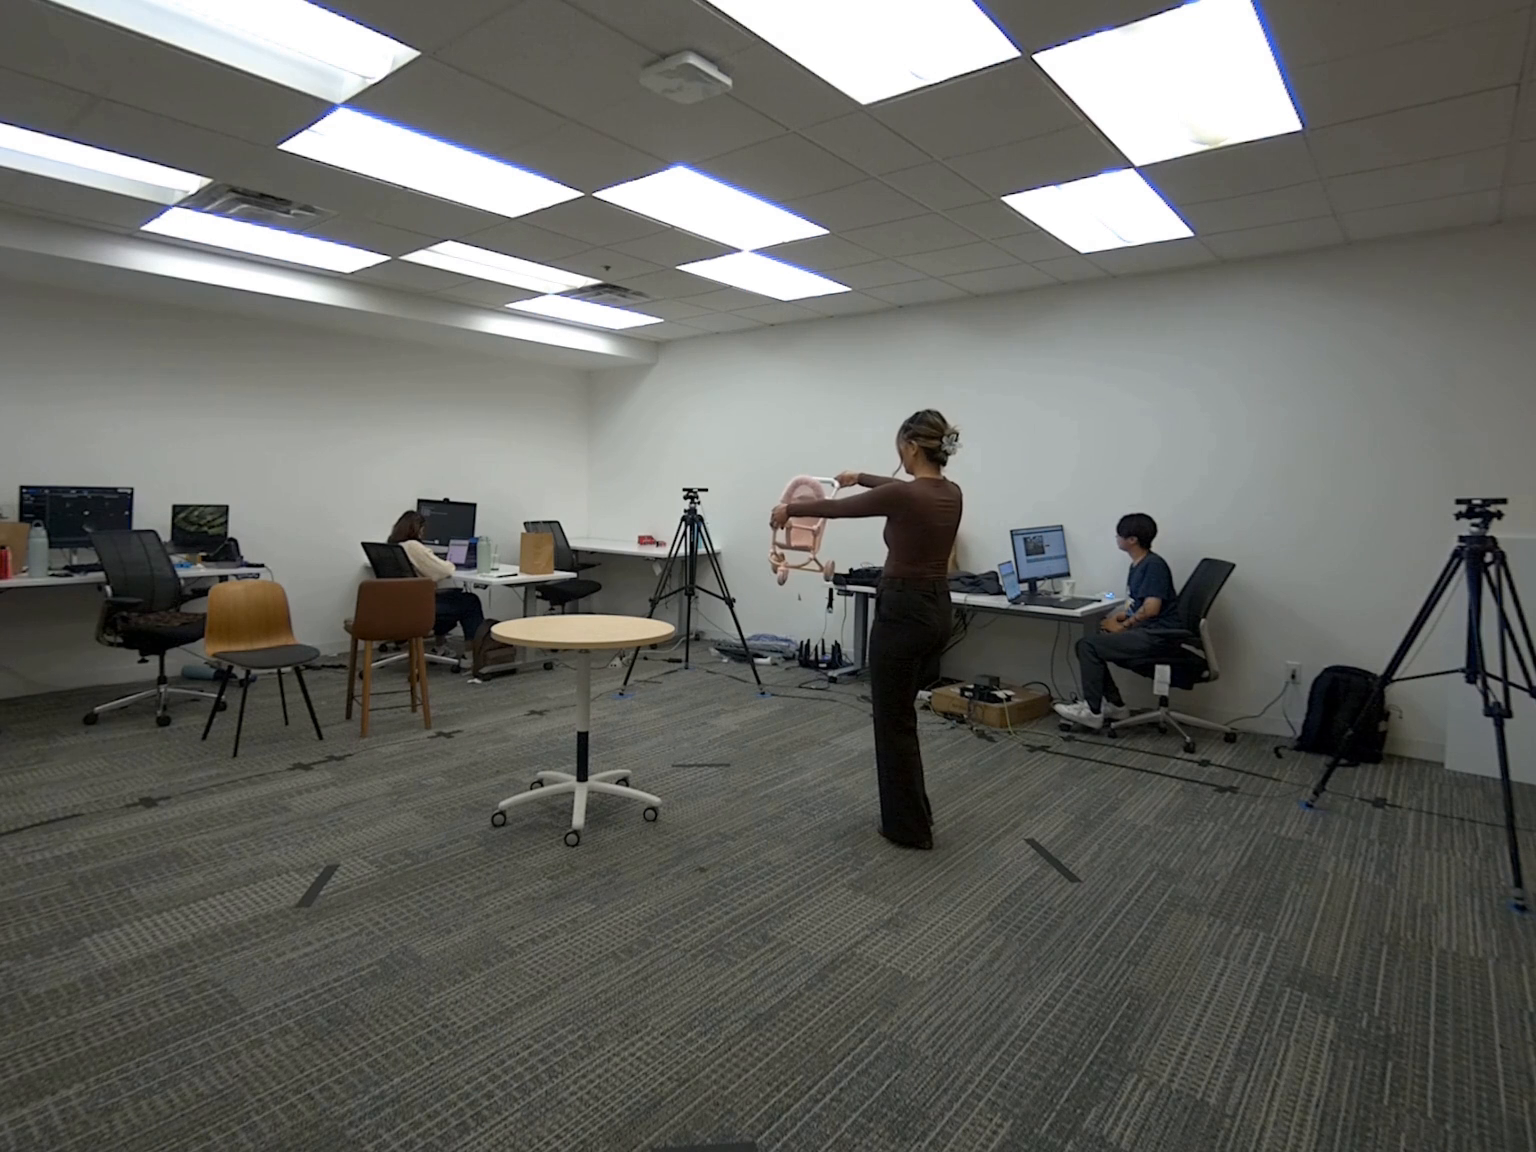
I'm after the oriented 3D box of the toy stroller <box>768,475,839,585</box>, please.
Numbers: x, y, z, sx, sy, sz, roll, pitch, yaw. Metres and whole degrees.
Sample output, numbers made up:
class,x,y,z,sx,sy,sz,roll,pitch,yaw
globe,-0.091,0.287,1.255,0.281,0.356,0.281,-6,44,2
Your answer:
class,x,y,z,sx,sy,sz,roll,pitch,yaw
toy stroller,0.135,-0.209,3.806,0.290,0.537,0.330,8,-4,27
